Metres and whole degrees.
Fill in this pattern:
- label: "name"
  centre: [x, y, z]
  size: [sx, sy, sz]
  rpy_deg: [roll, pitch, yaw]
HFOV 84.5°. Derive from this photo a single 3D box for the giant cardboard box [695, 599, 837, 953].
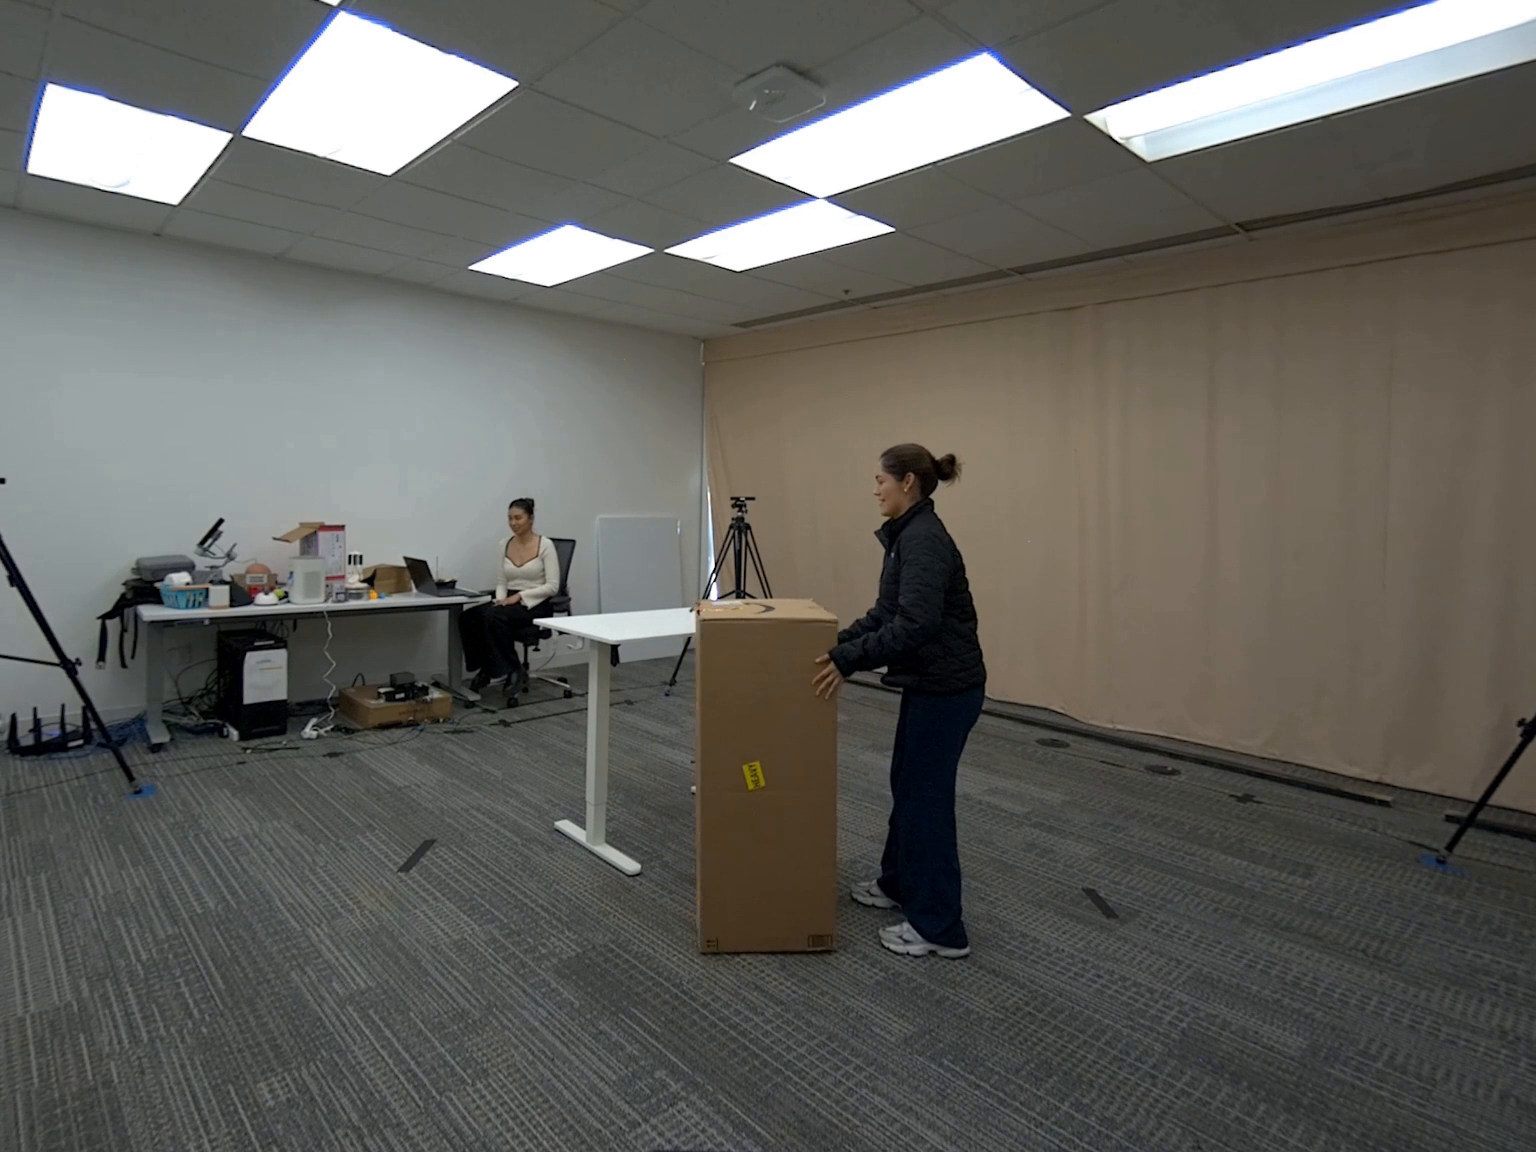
- label: "giant cardboard box"
  centre: [-0.026, 0.621, 2.832]
  size: [0.425, 1.024, 0.580]
  rpy_deg: [0, 3, -3]
